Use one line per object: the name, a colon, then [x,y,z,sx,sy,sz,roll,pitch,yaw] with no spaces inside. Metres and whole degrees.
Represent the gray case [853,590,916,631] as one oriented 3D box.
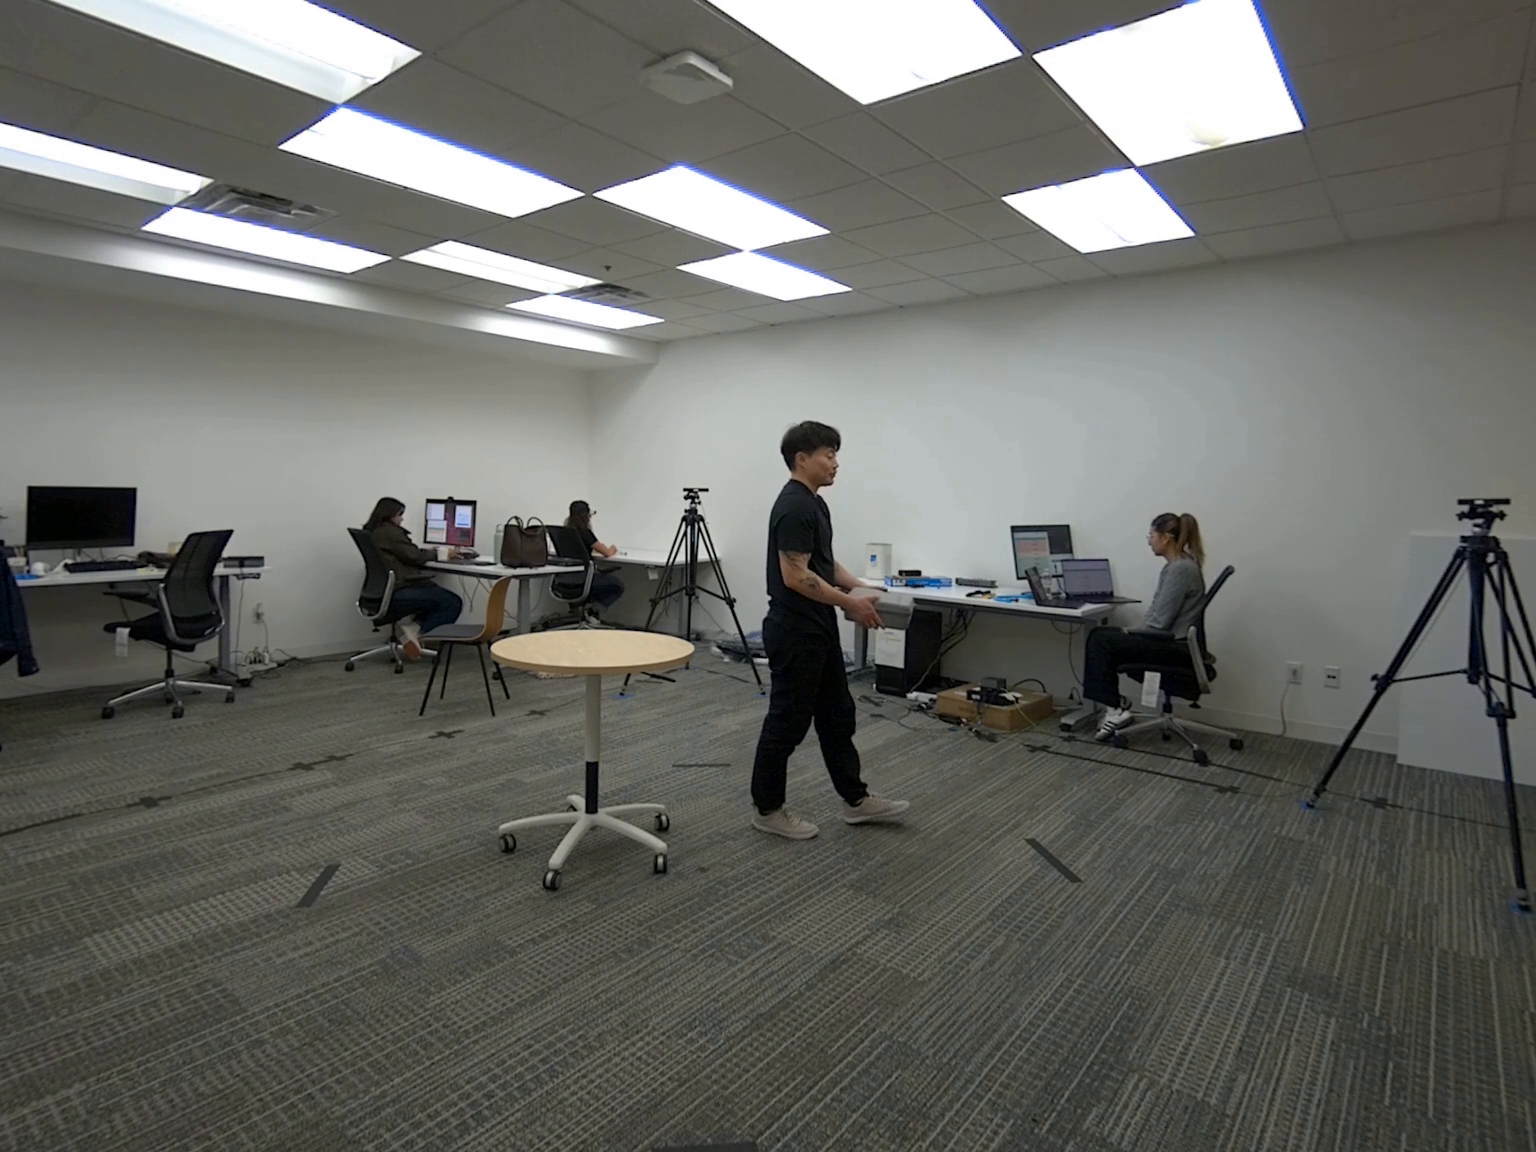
gray case: [0.438,0.118,3.351,0.264,0.103,0.255,6,10,12]
